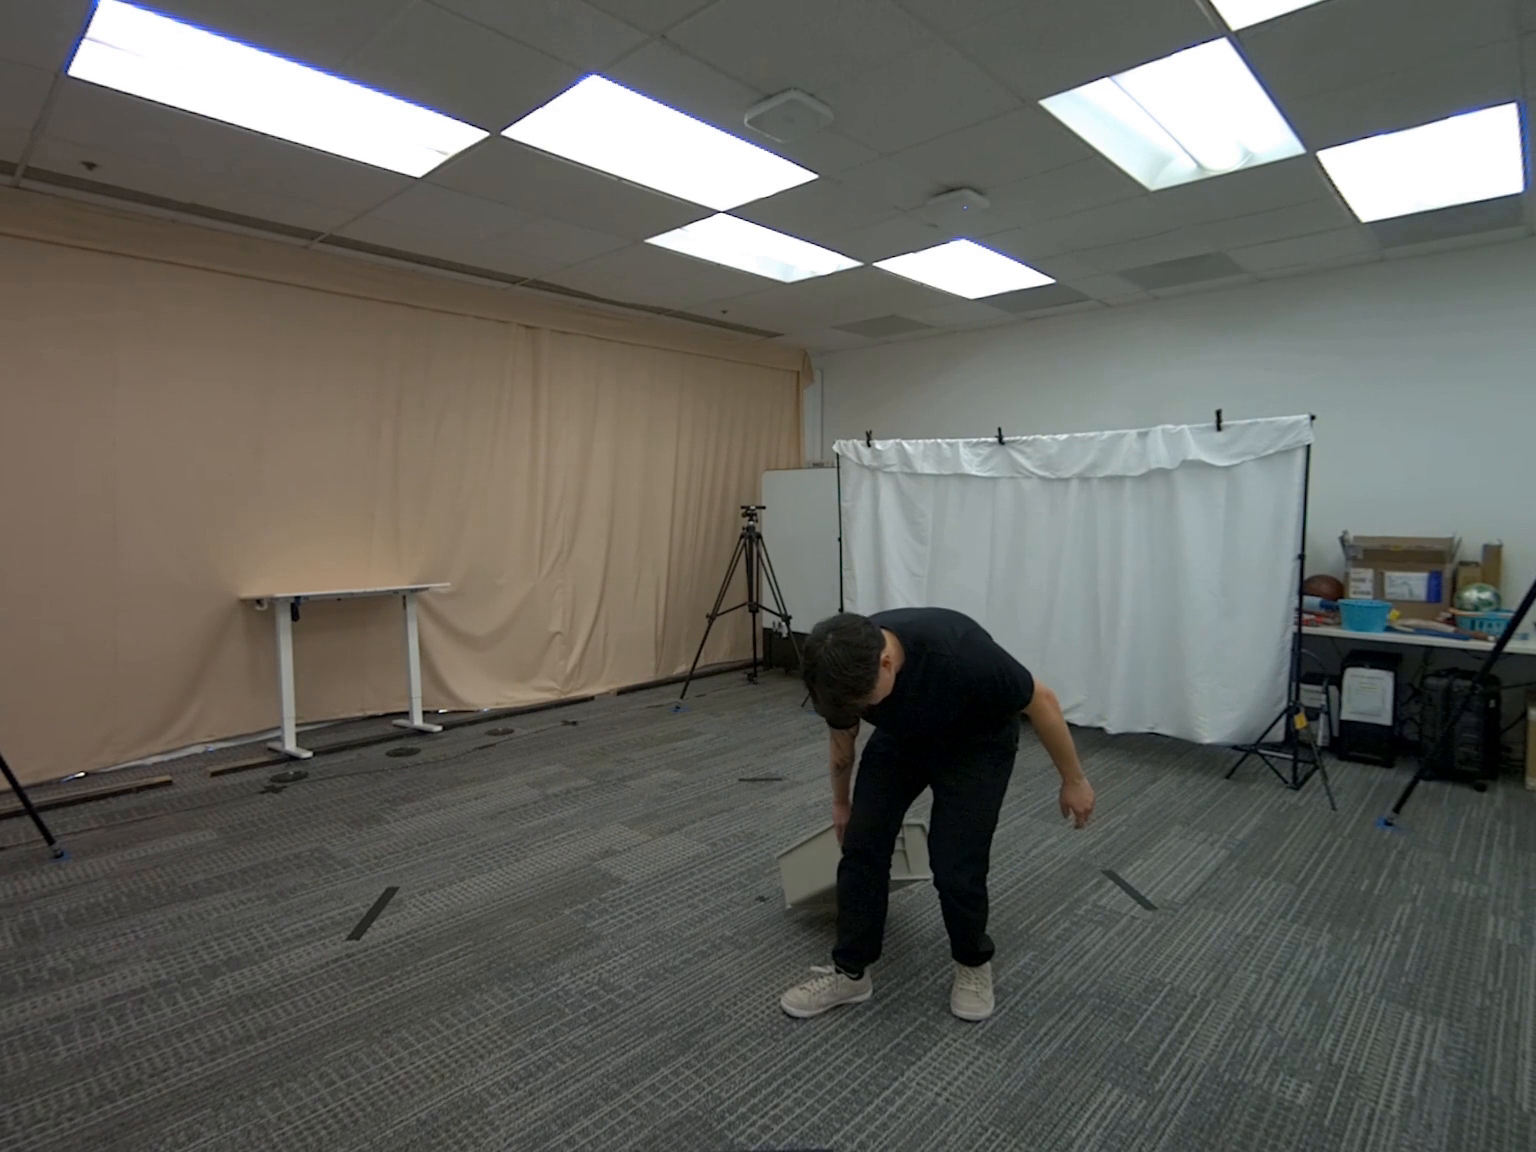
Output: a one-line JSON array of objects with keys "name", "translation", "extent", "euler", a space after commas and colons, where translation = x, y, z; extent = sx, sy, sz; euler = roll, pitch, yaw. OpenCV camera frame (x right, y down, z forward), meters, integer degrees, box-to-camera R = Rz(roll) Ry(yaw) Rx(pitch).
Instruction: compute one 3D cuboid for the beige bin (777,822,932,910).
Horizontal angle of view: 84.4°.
[{"name": "beige bin", "translation": [0.293, 0.953, 2.770], "extent": [0.368, 0.193, 0.424], "euler": [7, -33, -25]}]
